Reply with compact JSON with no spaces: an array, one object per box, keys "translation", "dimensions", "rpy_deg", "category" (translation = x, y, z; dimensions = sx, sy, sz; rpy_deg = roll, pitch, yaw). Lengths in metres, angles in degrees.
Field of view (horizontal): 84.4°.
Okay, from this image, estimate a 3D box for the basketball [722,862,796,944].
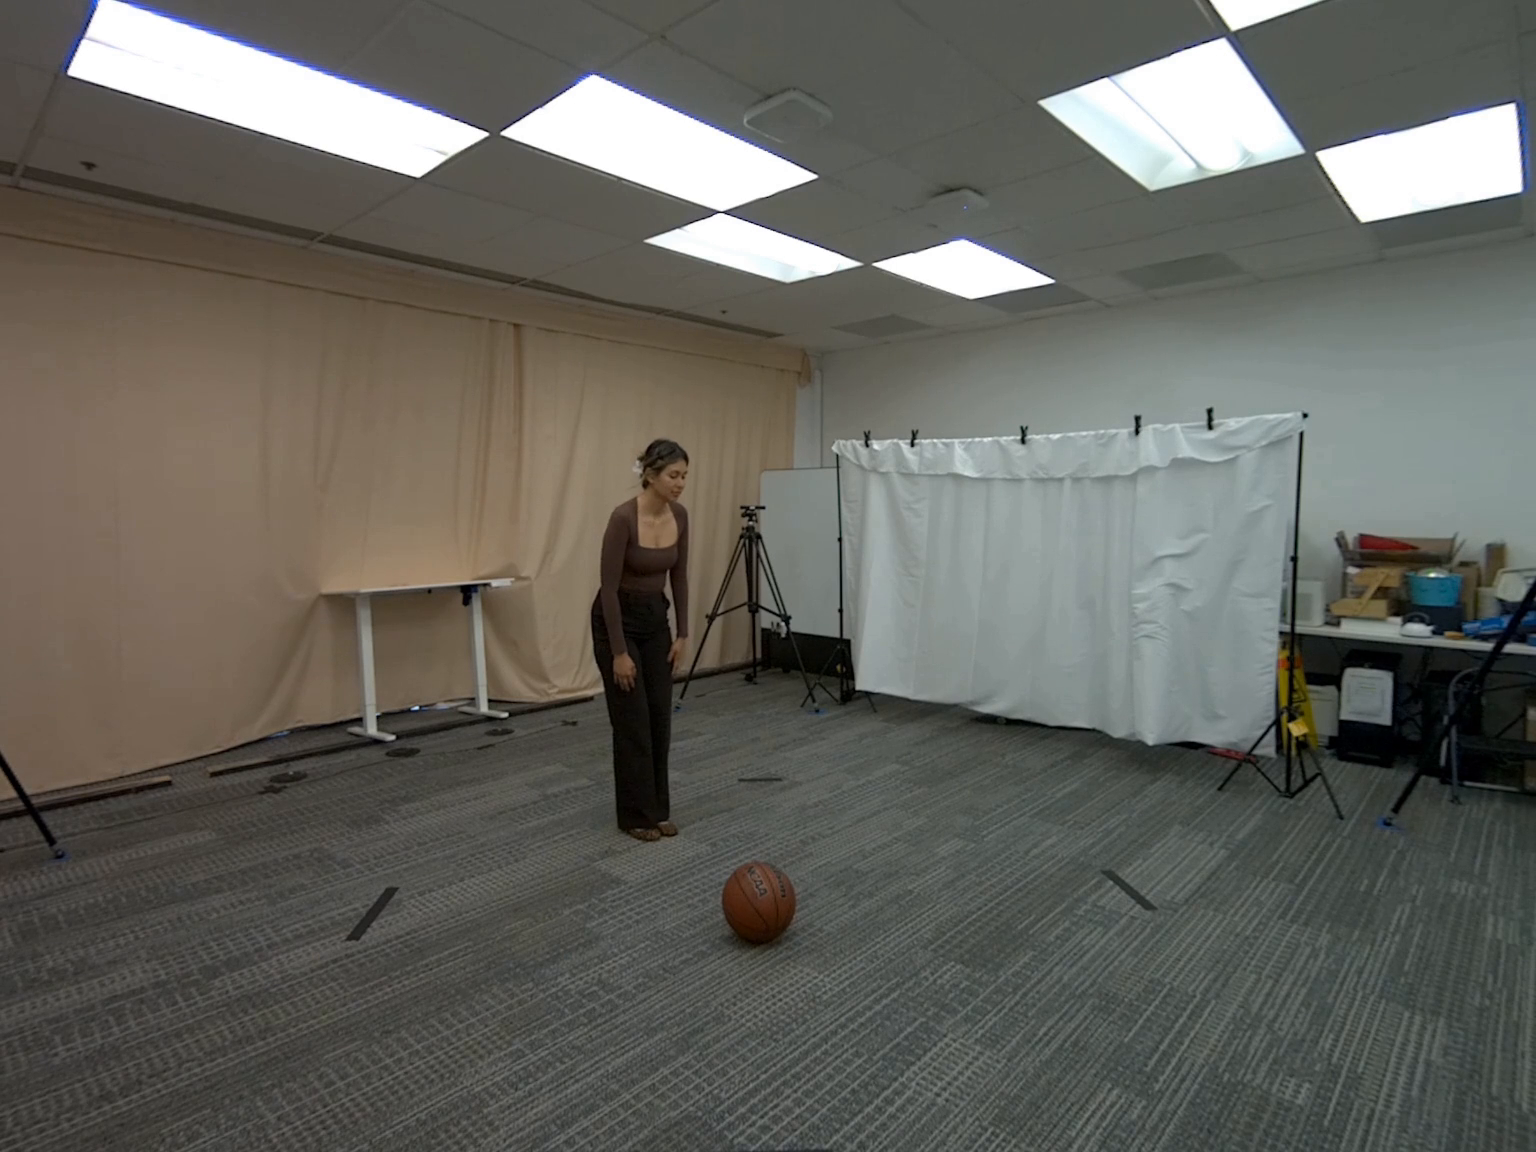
[{"translation":[-0.022,1.044,2.716],"dimensions":[0.236,0.235,0.237],"rpy_deg":[0,4,-2],"category":"basketball"}]
